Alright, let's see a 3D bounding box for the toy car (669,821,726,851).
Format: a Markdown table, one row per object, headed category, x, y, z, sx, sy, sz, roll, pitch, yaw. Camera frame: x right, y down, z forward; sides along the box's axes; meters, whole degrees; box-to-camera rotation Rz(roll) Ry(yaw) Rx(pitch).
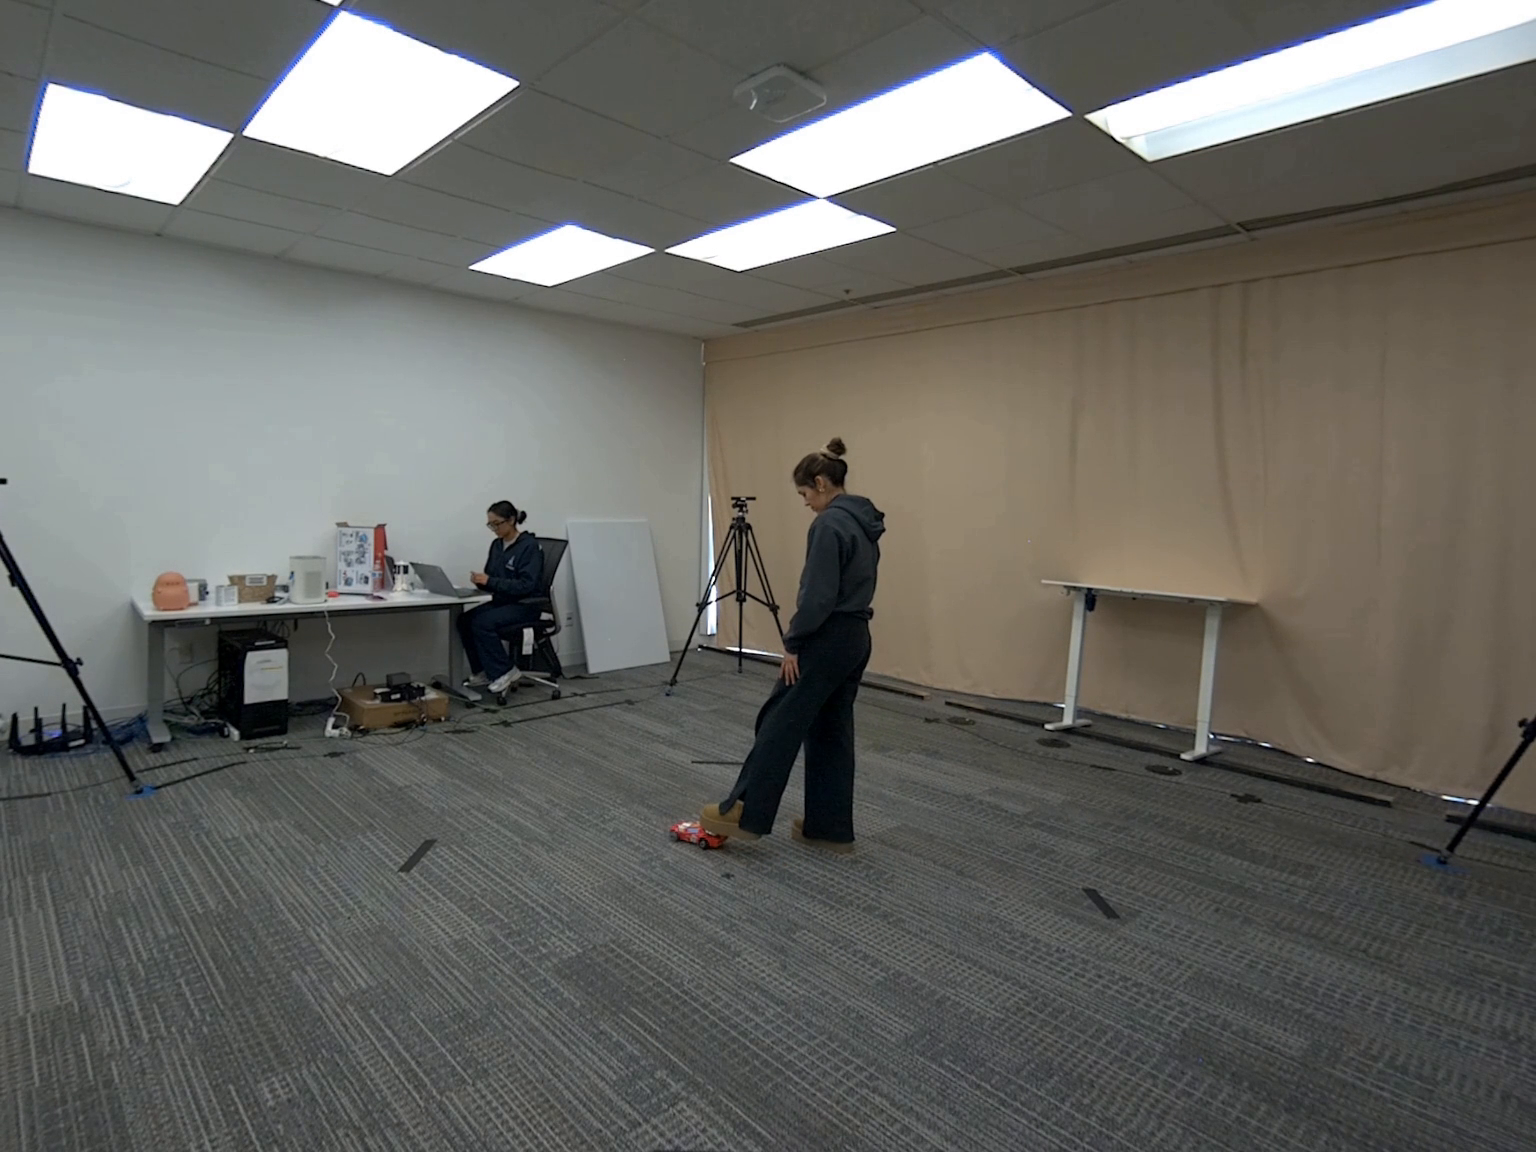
| category | x | y | z | sx | sy | sz | roll | pitch | yaw |
| --- | --- | --- | --- | --- | --- | --- | --- | --- | --- |
| toy car | -0.278 | 1.042 | 3.420 | 0.259 | 0.083 | 0.127 | -6 | -2 | 31 |
